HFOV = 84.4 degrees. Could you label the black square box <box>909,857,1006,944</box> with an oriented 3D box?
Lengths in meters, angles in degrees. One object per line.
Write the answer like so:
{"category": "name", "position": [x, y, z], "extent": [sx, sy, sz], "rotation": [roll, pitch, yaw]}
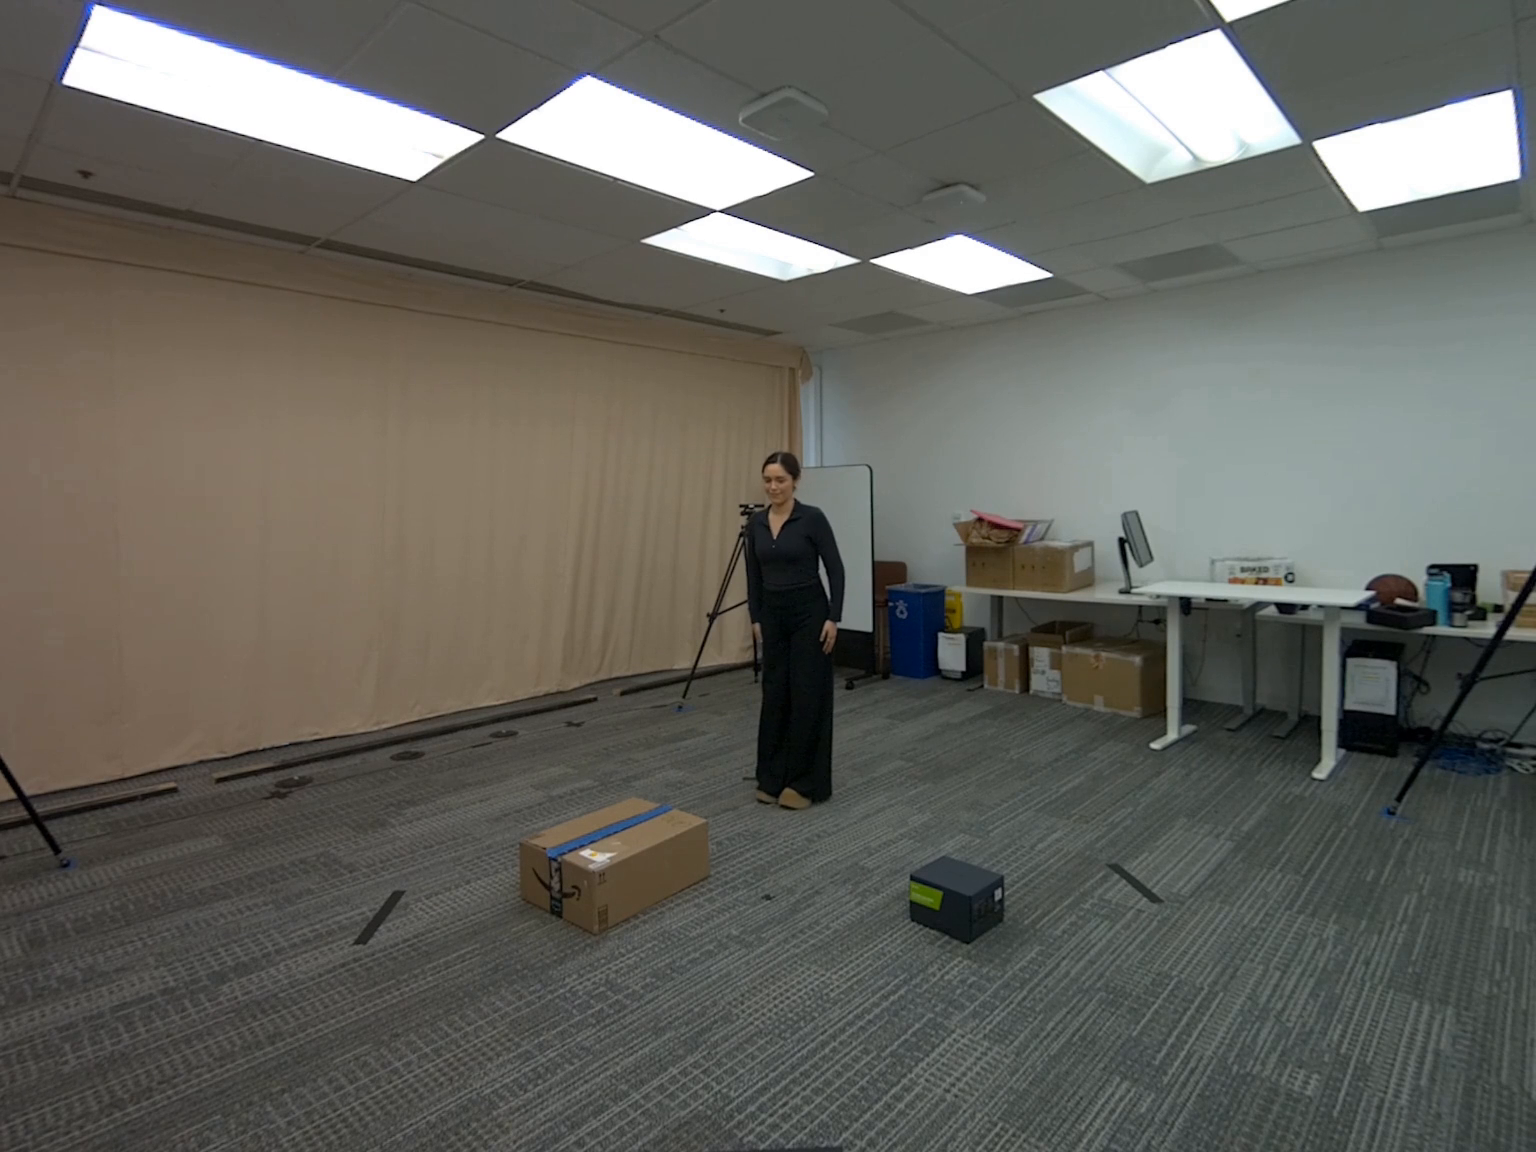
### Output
{"category": "black square box", "position": [0.629, 1.059, 2.787], "extent": [0.235, 0.155, 0.210], "rotation": [4, 6, 44]}
